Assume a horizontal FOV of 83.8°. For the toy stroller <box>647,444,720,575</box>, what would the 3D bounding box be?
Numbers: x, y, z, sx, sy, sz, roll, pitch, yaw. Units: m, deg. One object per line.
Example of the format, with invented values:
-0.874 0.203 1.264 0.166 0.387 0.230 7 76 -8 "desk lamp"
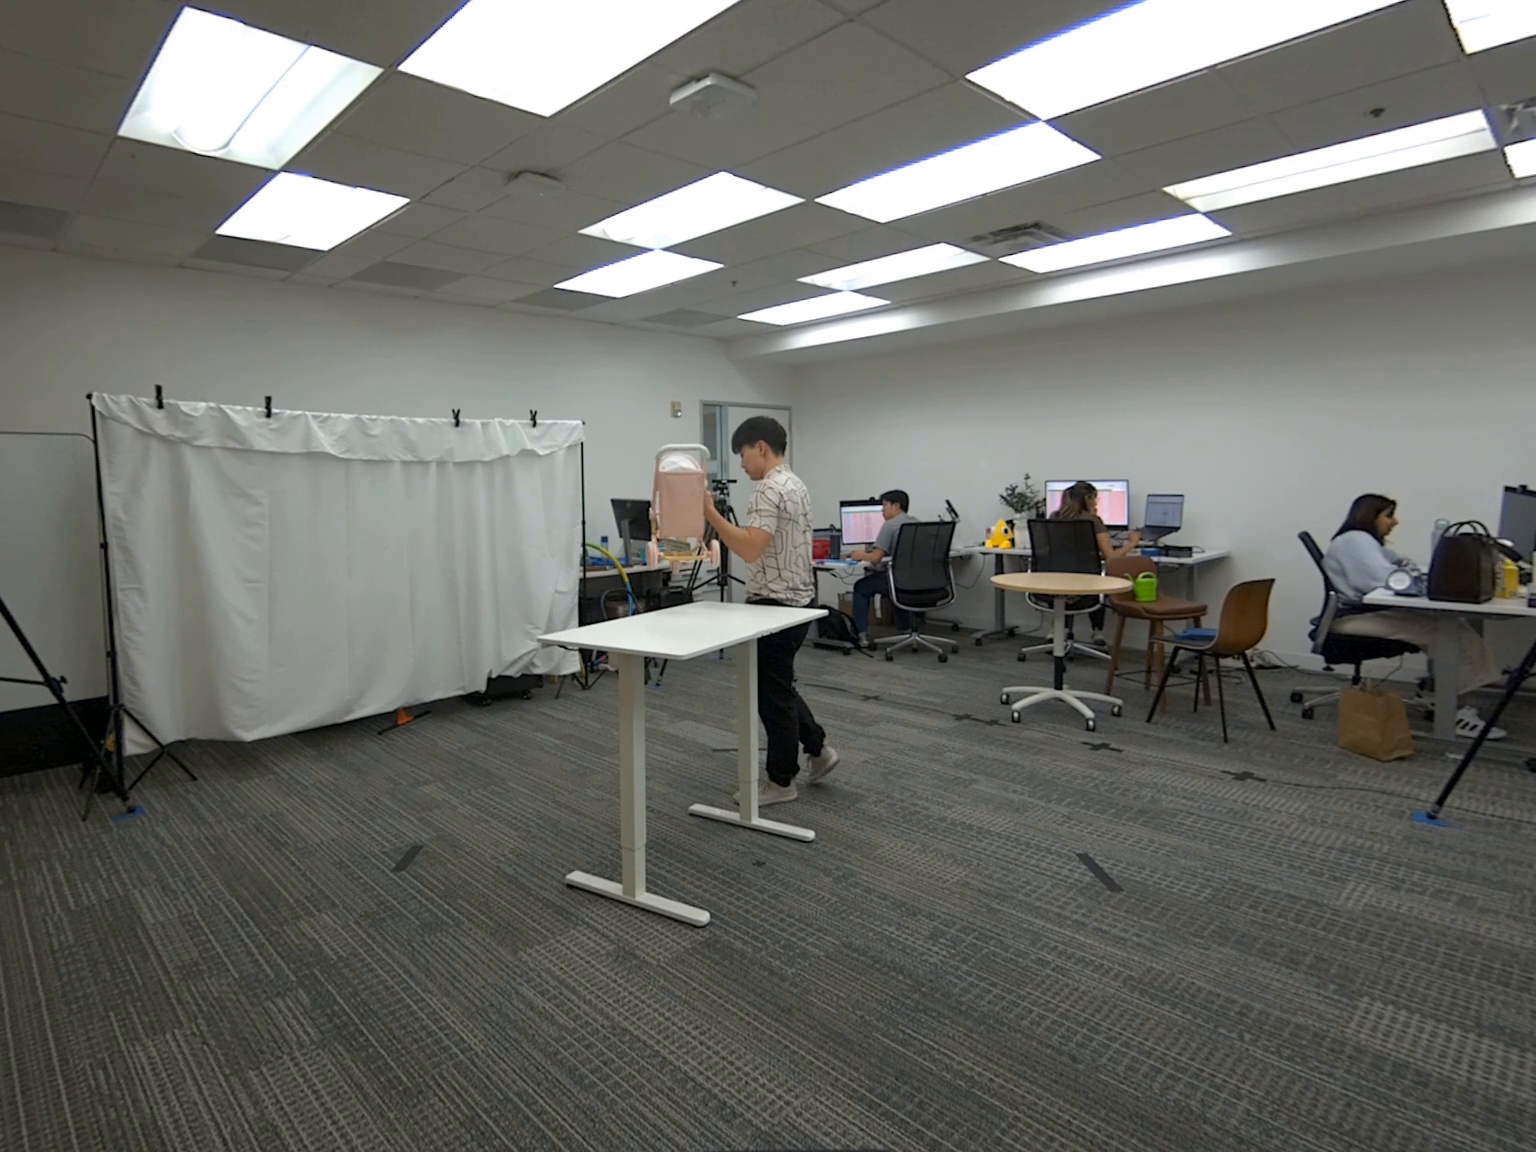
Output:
-0.343 -0.252 3.401 0.279 0.532 0.346 -3 6 -10 "toy stroller"
